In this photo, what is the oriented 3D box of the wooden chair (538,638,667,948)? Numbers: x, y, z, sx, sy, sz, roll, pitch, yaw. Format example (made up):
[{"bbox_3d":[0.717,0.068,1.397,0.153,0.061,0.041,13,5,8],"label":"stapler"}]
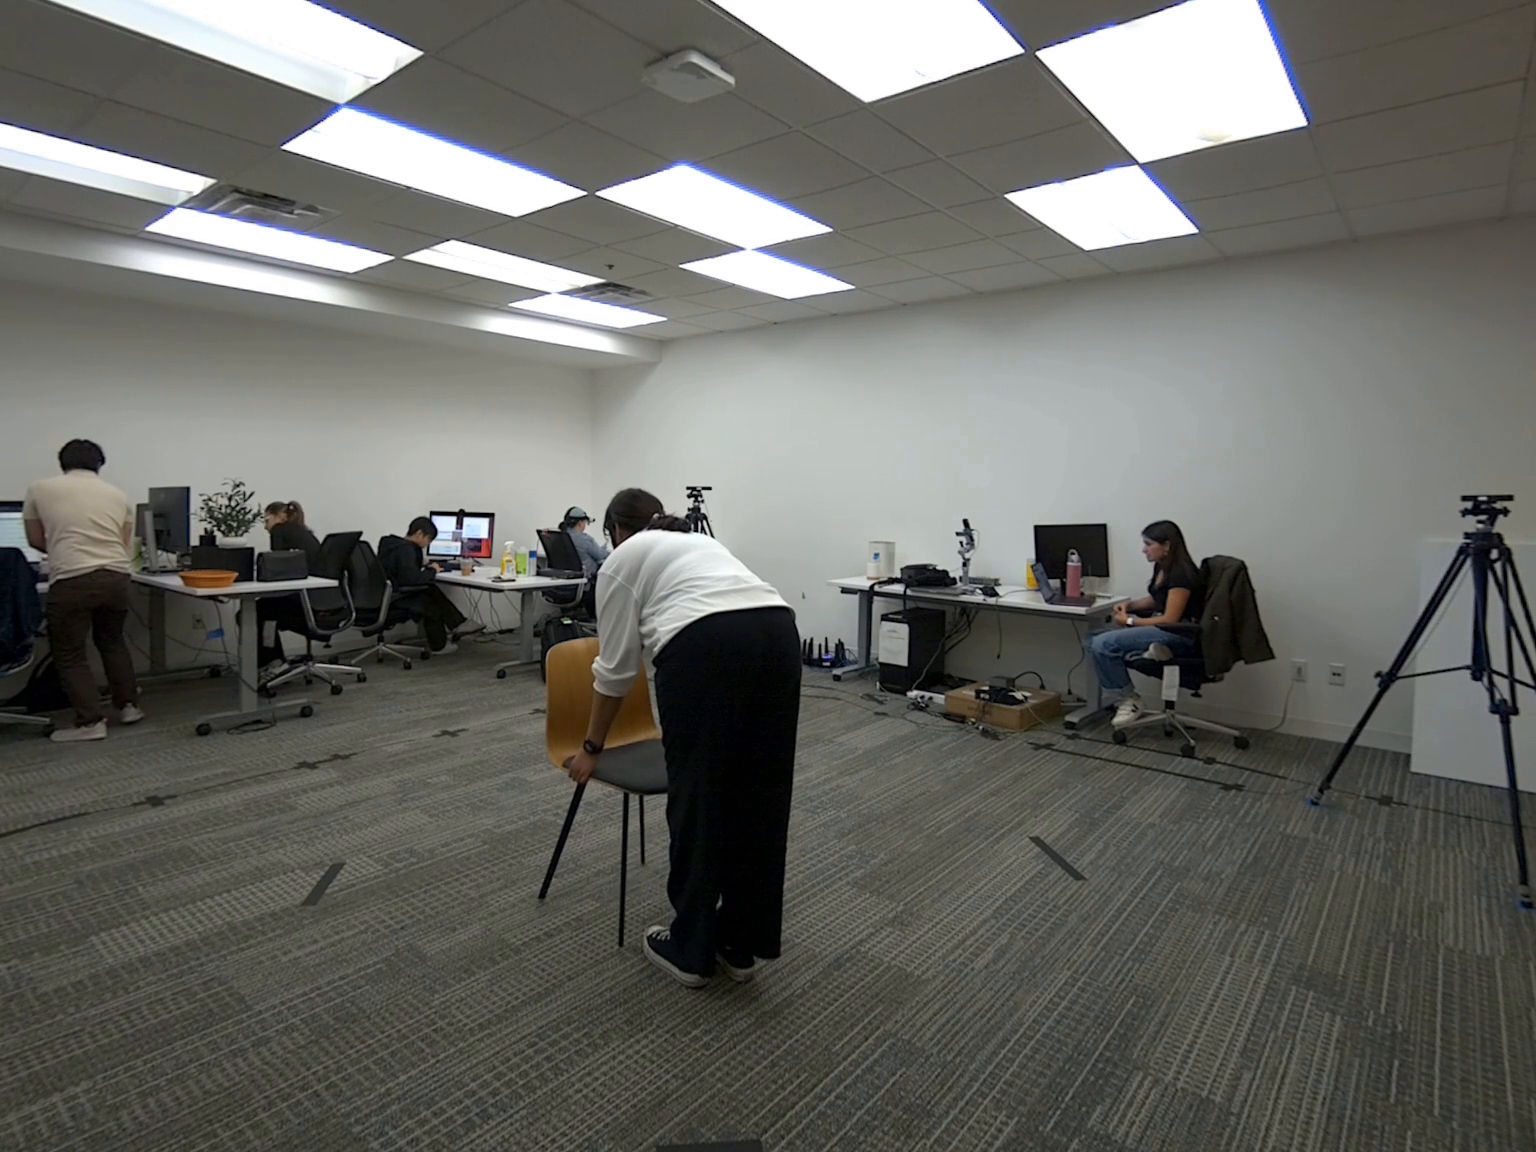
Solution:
[{"bbox_3d":[-0.444,0.647,2.813,0.538,0.879,0.463,-5,-2,45],"label":"wooden chair"}]
